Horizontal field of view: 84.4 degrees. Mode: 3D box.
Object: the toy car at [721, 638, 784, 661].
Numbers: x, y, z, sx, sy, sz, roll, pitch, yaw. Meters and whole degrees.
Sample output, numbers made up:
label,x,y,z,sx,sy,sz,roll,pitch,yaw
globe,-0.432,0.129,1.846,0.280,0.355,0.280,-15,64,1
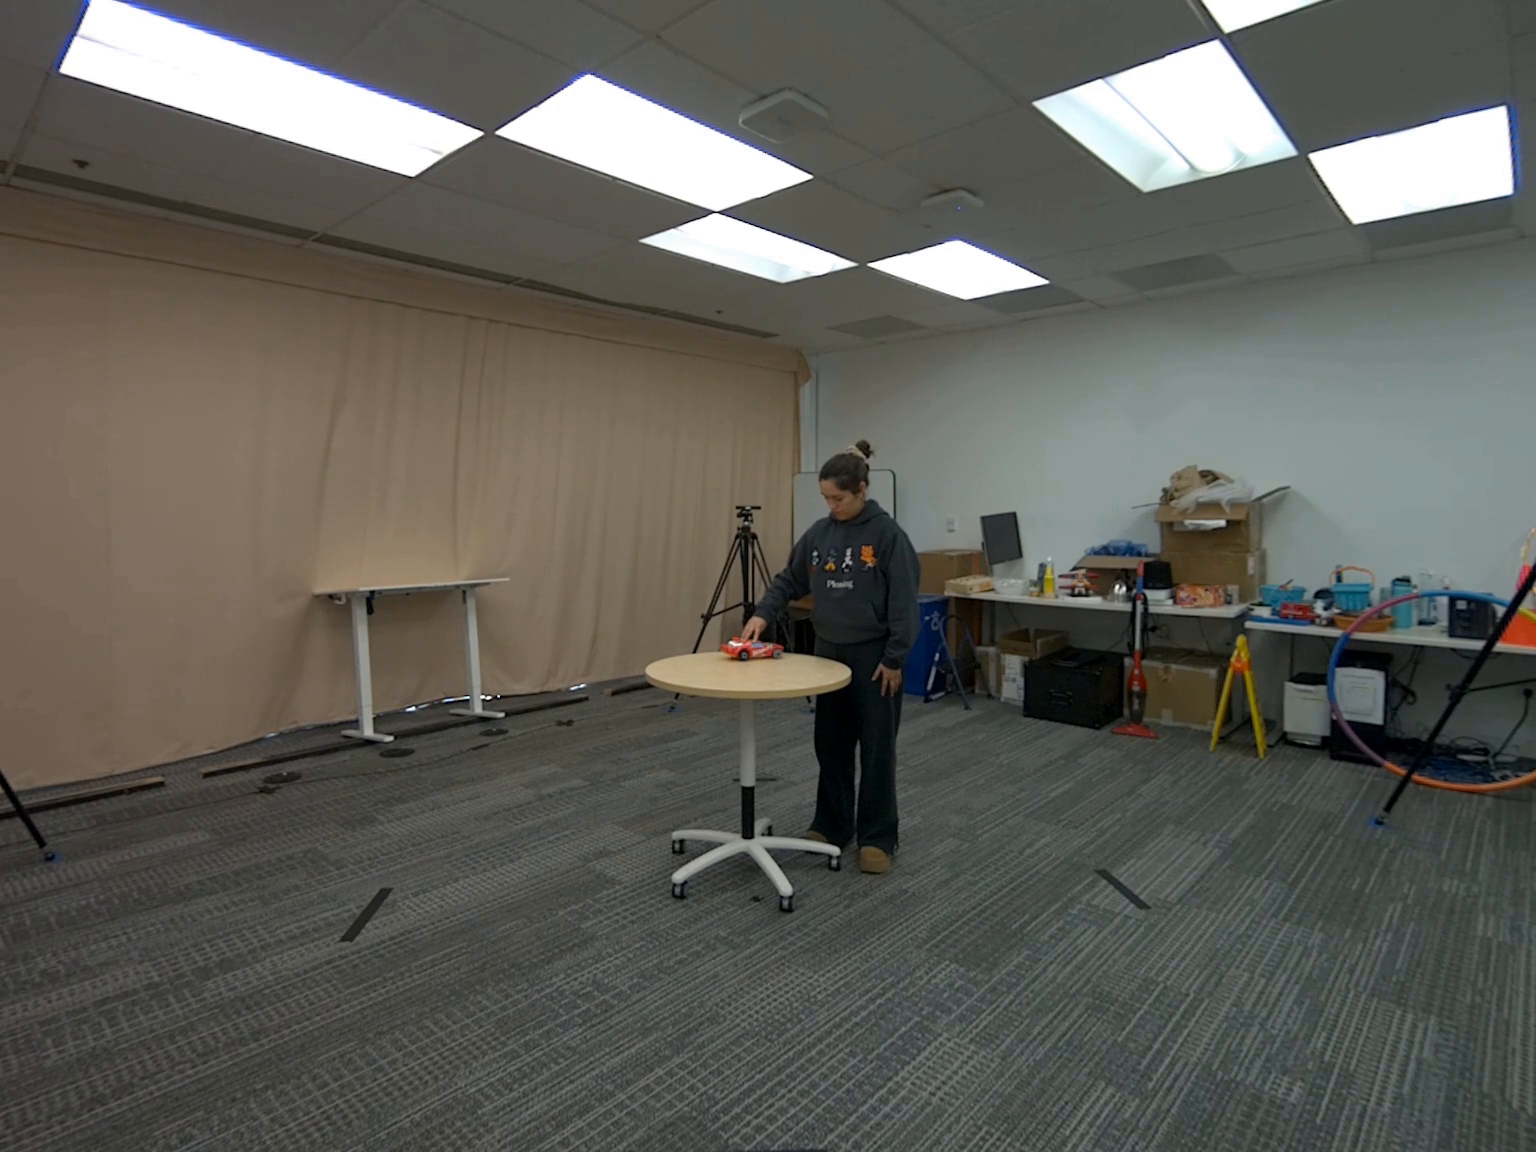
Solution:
label,x,y,z,sx,sy,sz,roll,pitch,yaw
toy car,-0.055,0.298,3.369,0.249,0.083,0.133,10,0,-21
